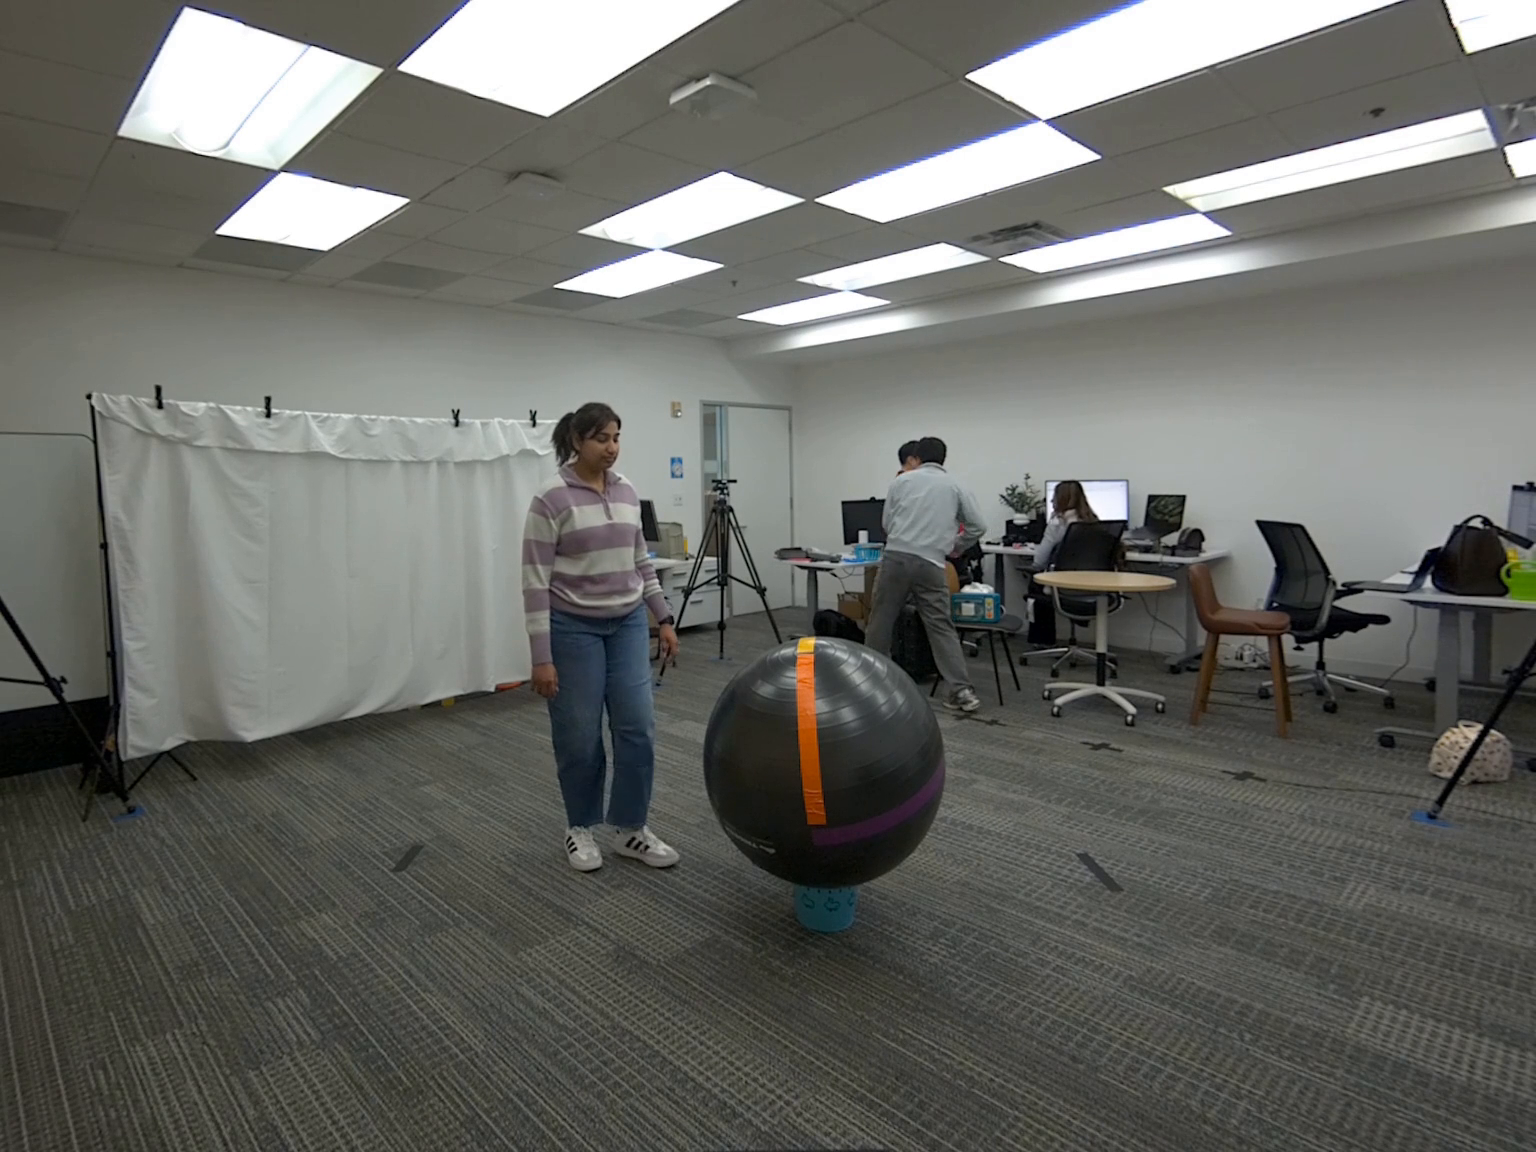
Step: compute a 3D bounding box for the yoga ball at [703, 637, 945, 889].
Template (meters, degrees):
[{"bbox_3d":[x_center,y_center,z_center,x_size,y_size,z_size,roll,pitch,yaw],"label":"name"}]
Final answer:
[{"bbox_3d":[0.183,0.586,2.673,0.757,0.755,0.762,-1,5,-2],"label":"yoga ball"}]
